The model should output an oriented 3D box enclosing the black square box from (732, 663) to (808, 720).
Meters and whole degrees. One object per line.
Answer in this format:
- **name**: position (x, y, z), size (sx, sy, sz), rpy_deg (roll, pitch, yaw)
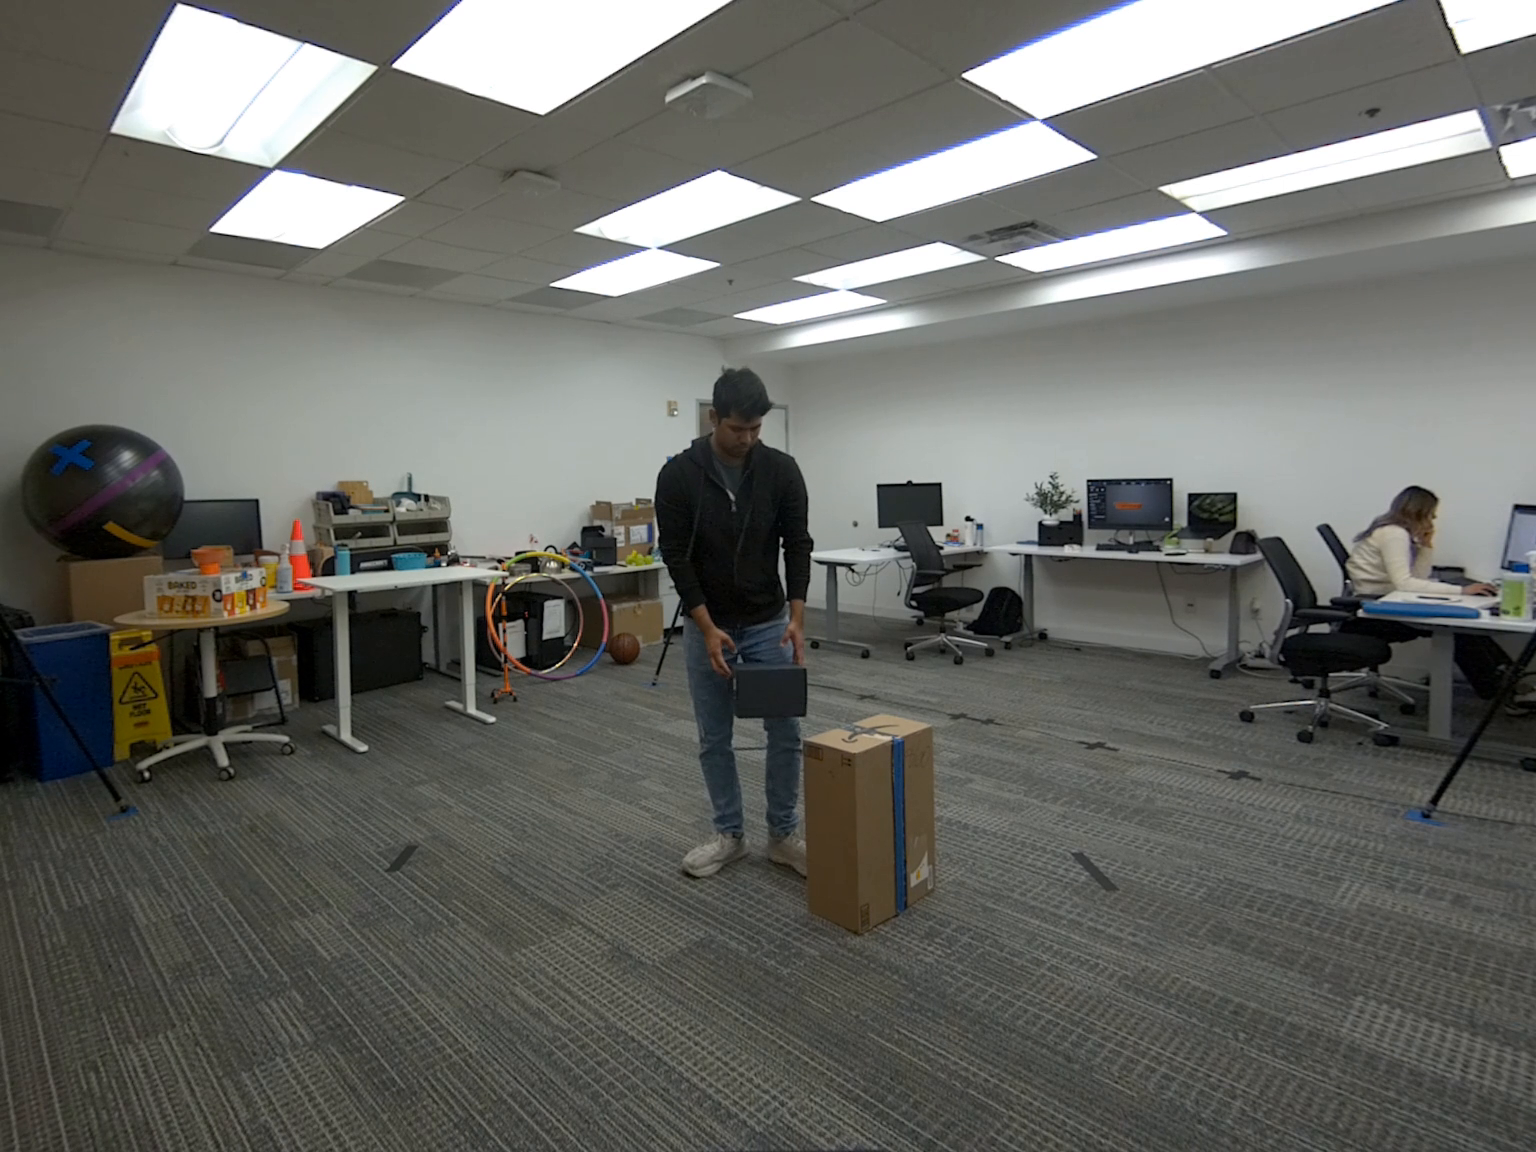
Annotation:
- **black square box**: position (-0.006, 0.386, 2.826), size (0.226, 0.156, 0.218), rpy_deg (1, -1, -7)
